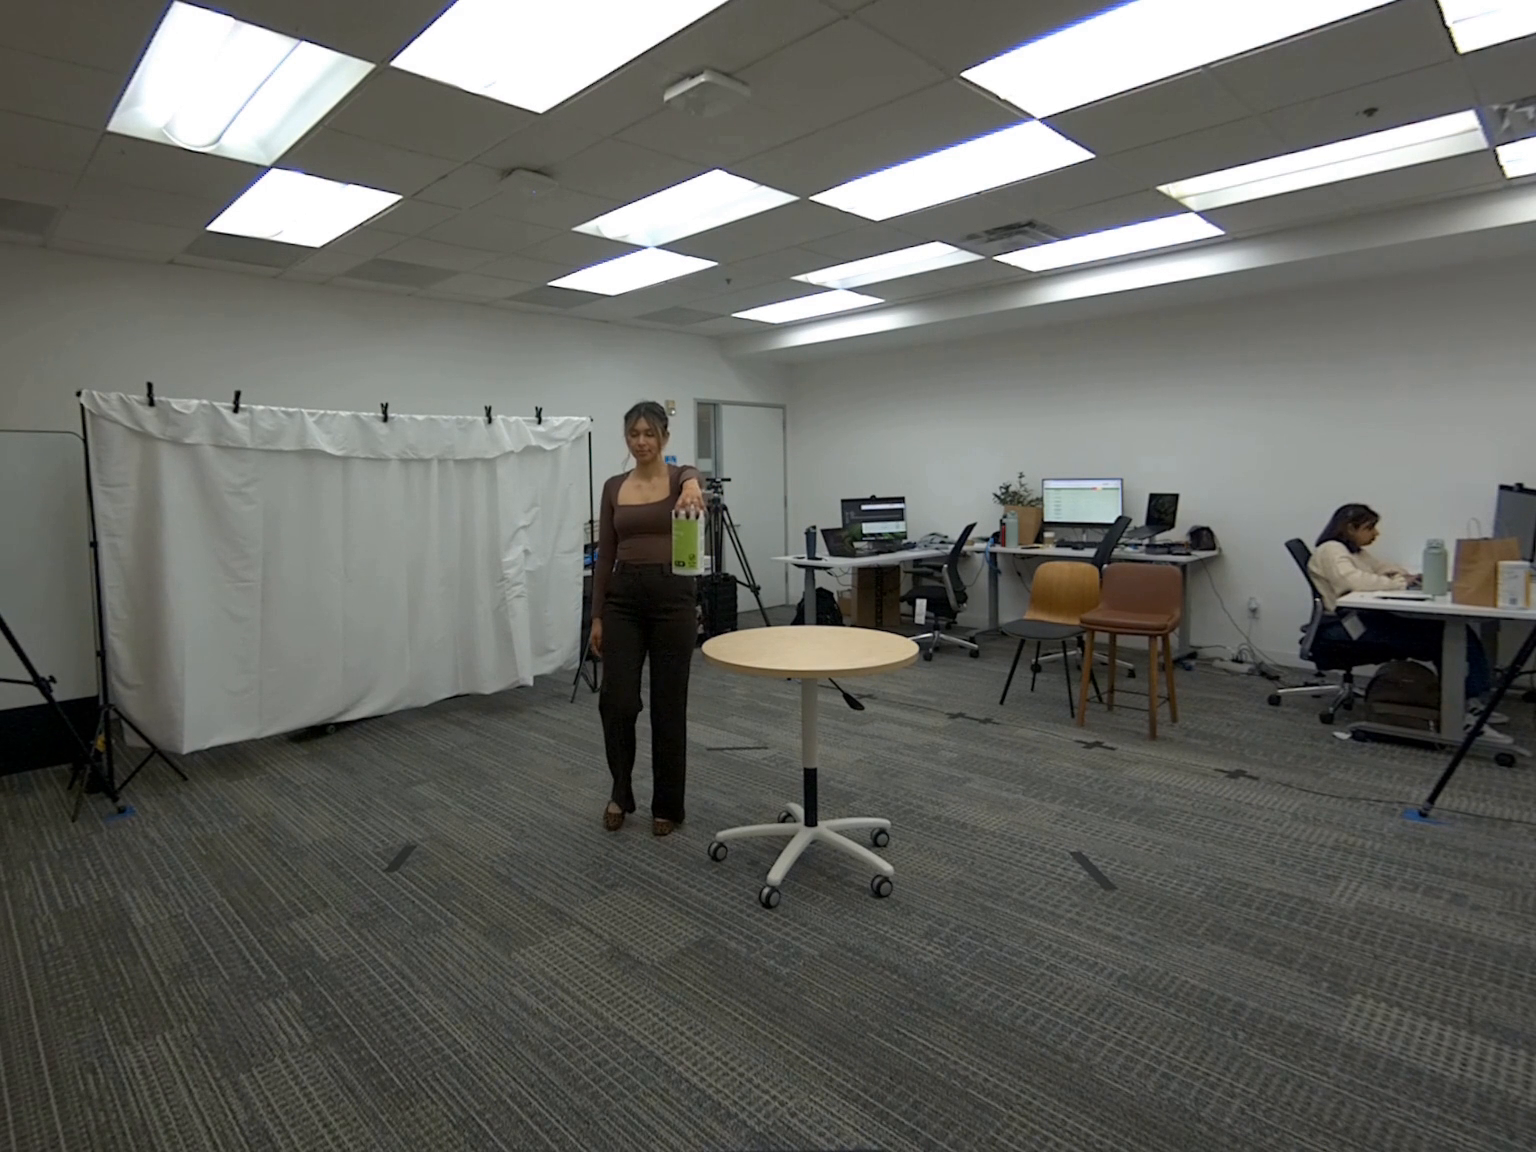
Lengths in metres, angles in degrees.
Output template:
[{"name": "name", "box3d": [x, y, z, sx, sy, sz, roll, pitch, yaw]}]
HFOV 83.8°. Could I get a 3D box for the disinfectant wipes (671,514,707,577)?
[{"name": "disinfectant wipes", "box3d": [-0.270, -0.116, 2.863, 0.118, 0.216, 0.118, 1, 4, -2]}]
